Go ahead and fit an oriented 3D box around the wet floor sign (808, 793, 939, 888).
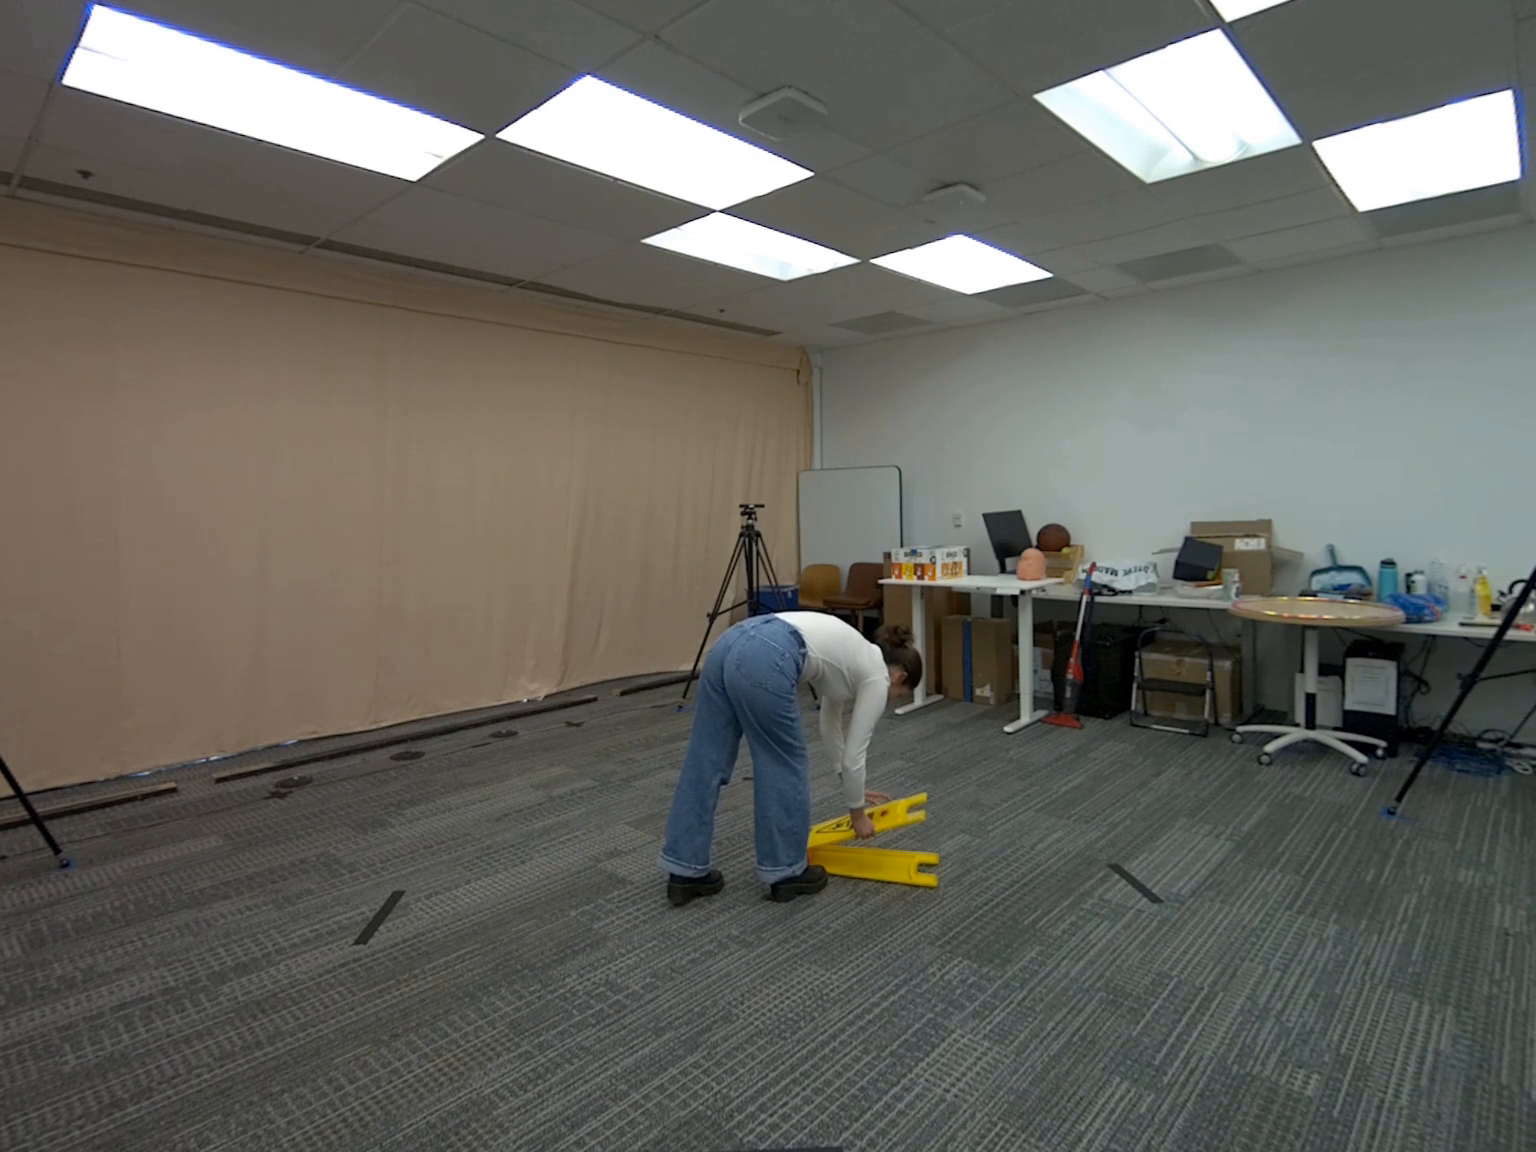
[{"bbox_3d":[0.309,1.031,3.243,0.656,0.290,0.278,-9,1,16],"label":"wet floor sign"}]
